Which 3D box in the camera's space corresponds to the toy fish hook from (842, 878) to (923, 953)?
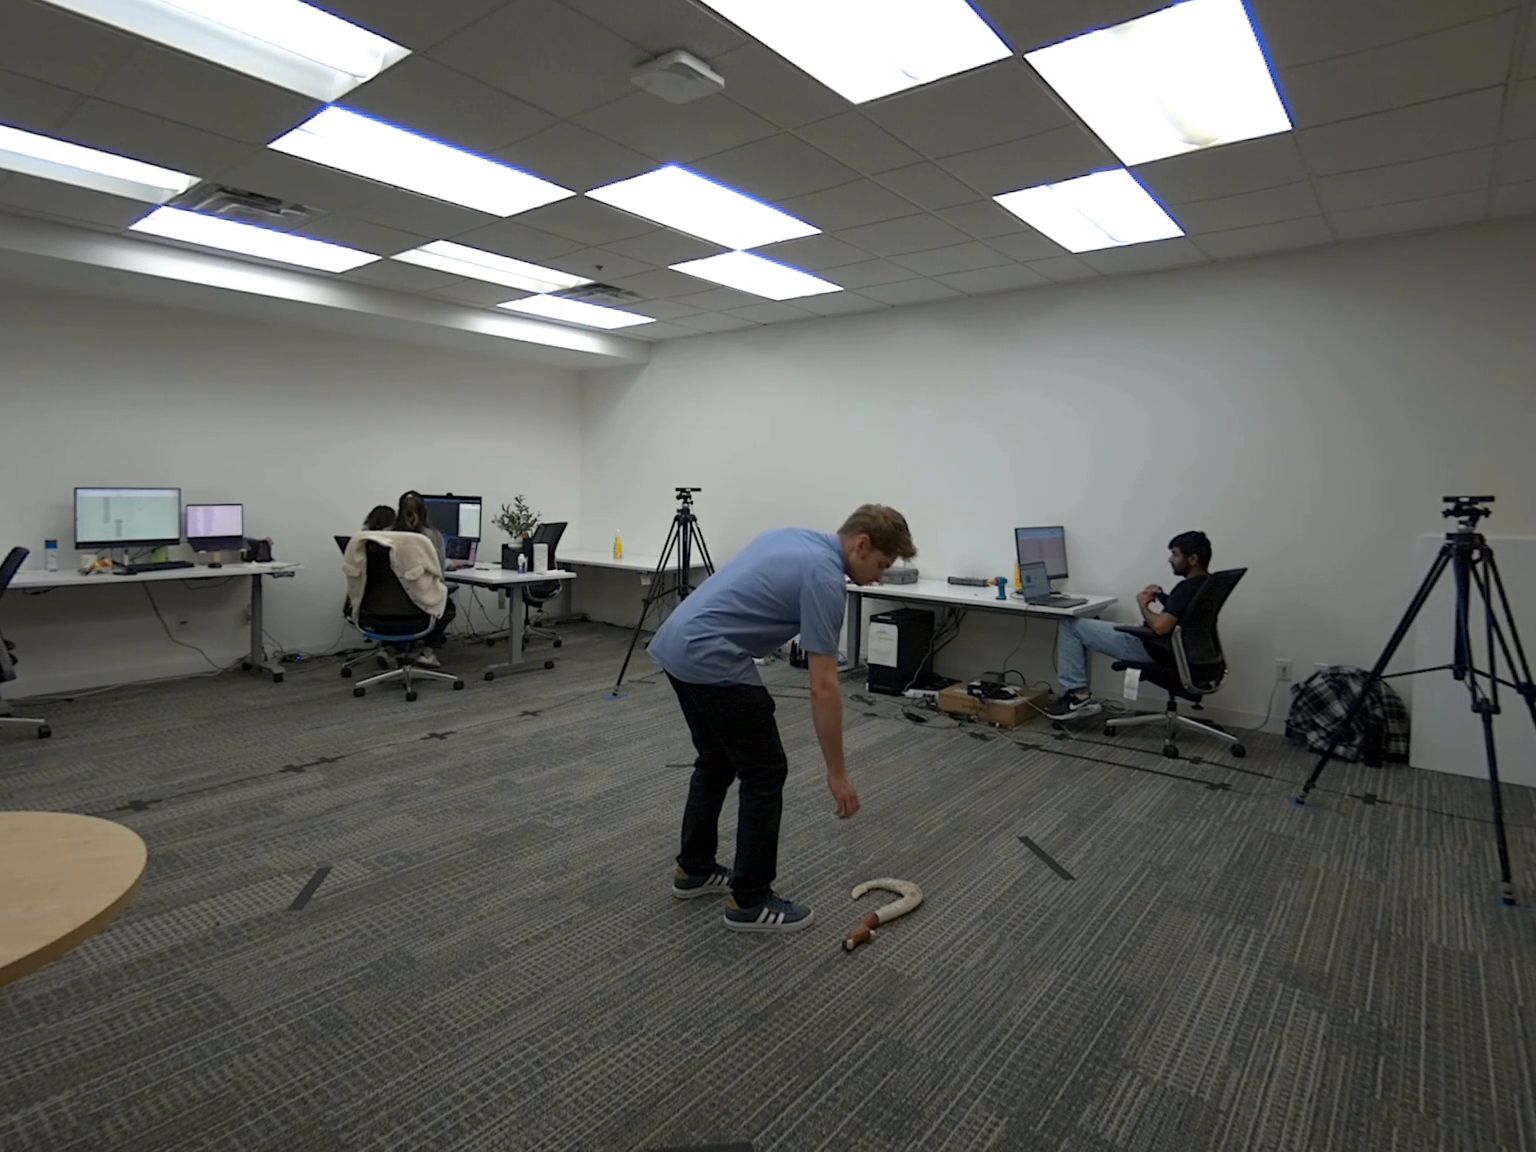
[{"bbox_3d":[0.327,1.096,2.791,0.231,0.048,0.492,-3,2,35],"label":"toy fish hook"}]
